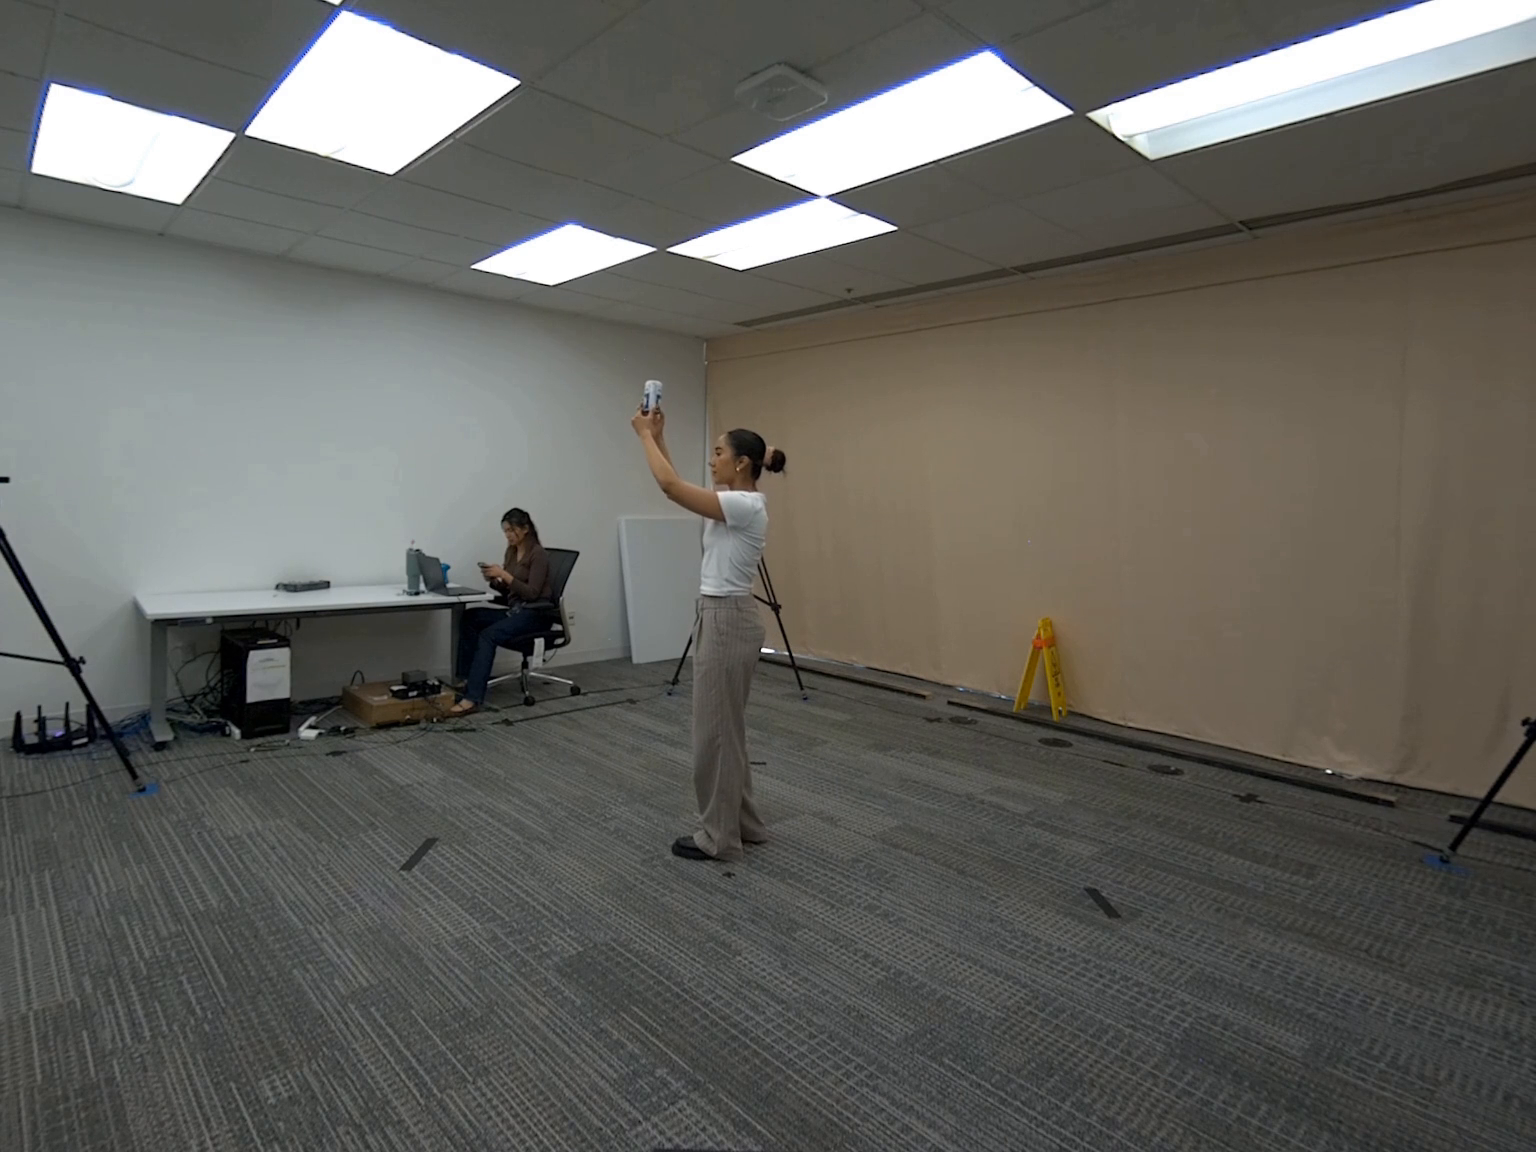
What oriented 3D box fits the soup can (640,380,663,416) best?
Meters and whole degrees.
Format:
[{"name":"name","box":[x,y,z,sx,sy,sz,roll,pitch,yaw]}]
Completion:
[{"name":"soup can","box":[-0.453,-0.686,3.246,0.067,0.122,0.067,-1,-6,-1]}]
